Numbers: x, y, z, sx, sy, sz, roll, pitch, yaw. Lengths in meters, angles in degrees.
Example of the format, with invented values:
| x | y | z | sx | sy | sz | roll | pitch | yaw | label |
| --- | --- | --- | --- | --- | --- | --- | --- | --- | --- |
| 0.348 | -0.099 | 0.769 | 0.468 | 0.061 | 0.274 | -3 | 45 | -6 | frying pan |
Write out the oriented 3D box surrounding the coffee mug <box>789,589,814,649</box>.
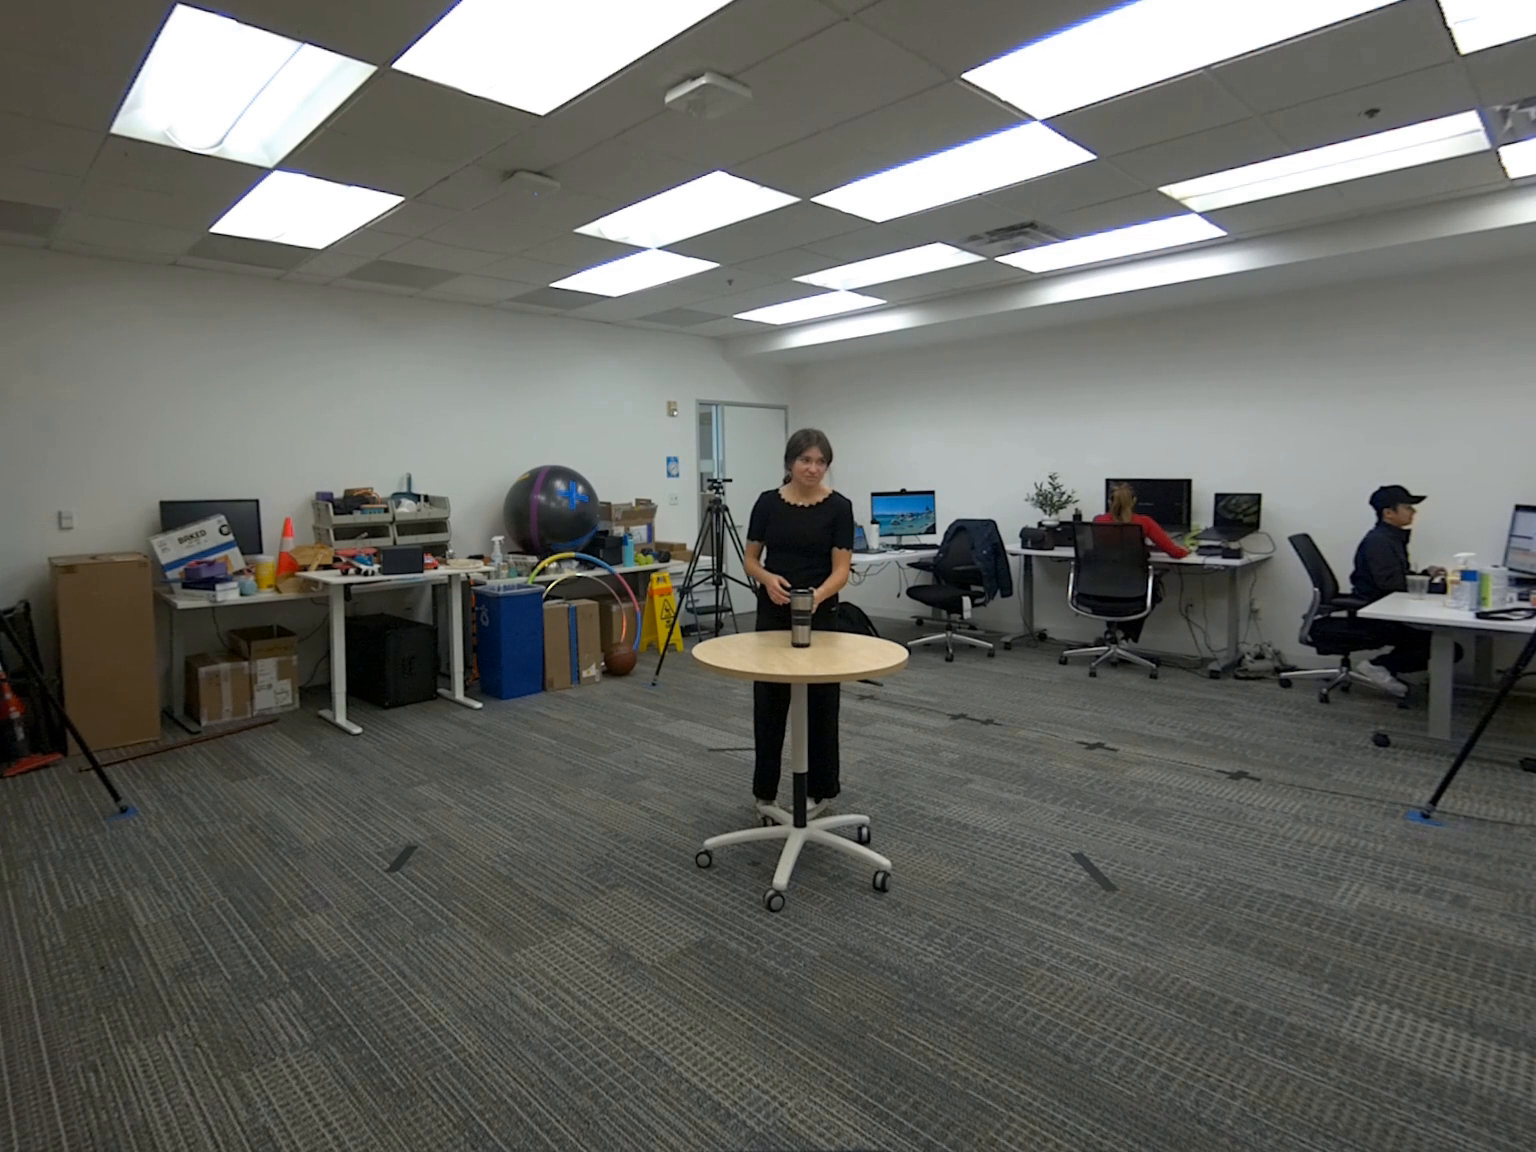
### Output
| x | y | z | sx | sy | sz | roll | pitch | yaw | label |
| --- | --- | --- | --- | --- | --- | --- | --- | --- | --- |
| 0.140 | 0.157 | 3.131 | 0.118 | 0.204 | 0.090 | 0 | -6 | -40 | coffee mug |
